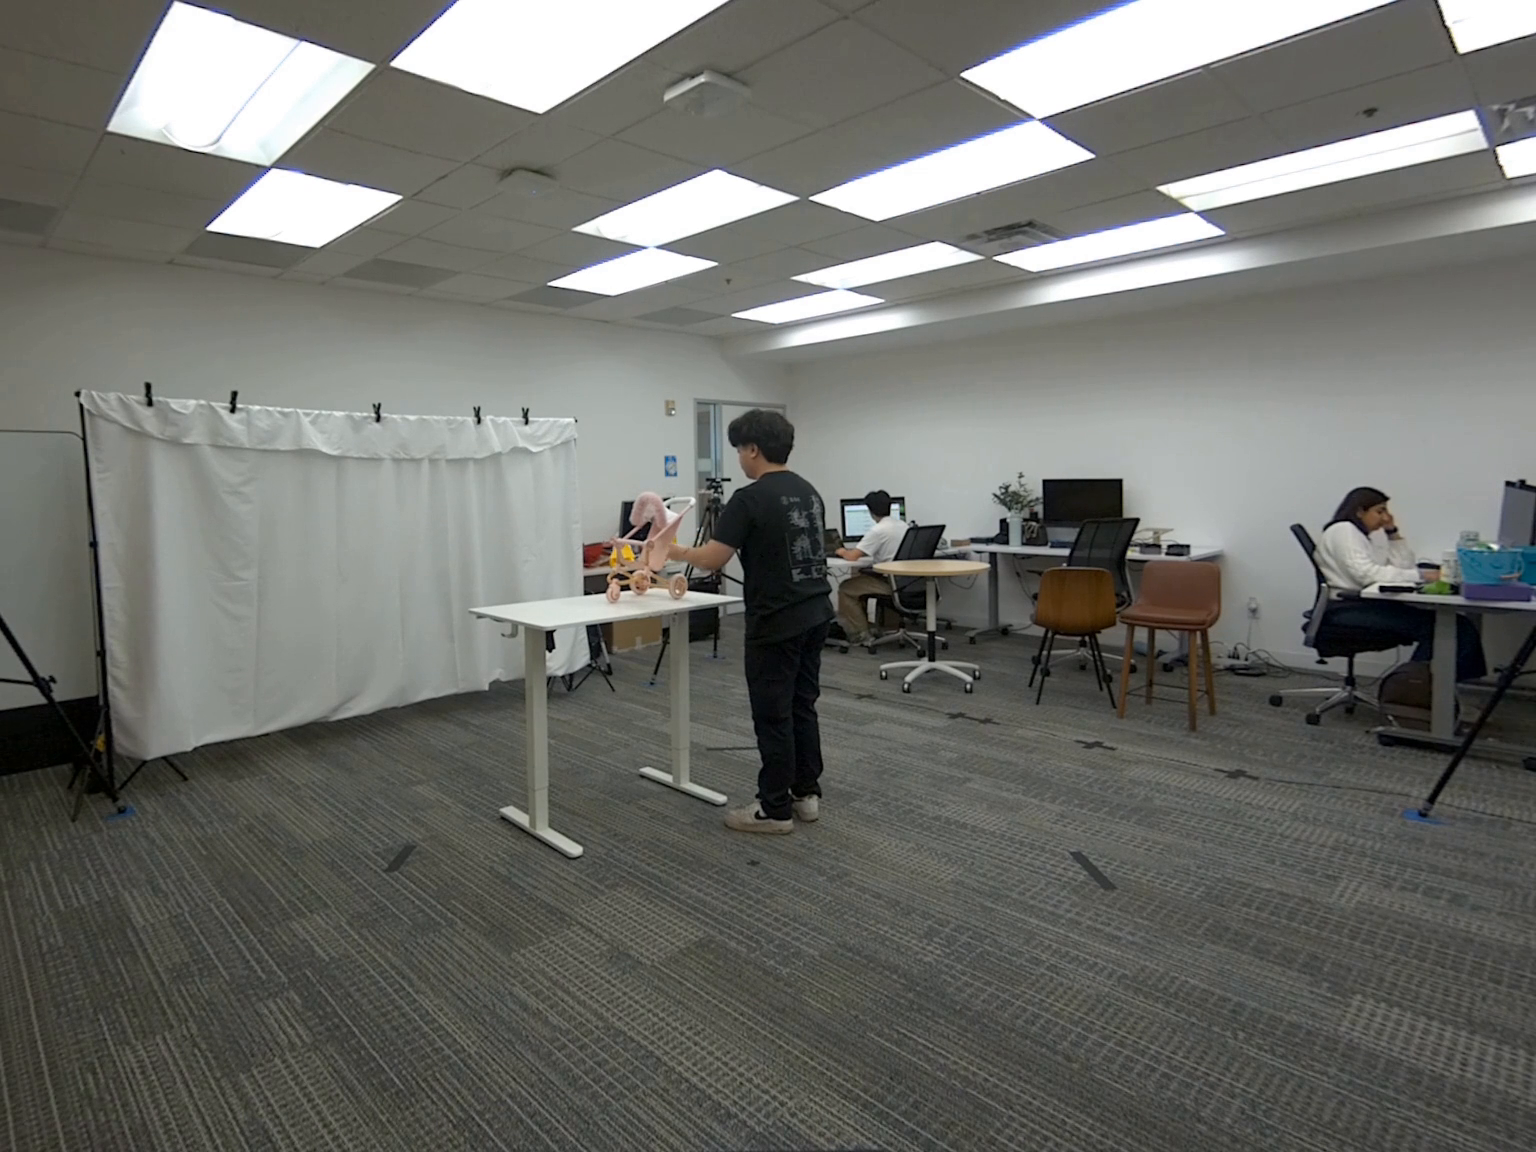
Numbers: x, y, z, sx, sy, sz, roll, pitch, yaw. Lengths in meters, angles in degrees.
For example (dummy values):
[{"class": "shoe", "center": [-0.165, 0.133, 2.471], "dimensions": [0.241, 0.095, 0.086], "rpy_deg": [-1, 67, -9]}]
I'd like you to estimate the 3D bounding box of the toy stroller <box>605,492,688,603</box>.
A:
[{"class": "toy stroller", "center": [-0.533, -0.128, 3.741], "dimensions": [0.329, 0.538, 0.290], "rpy_deg": [16, -9, -43]}]
